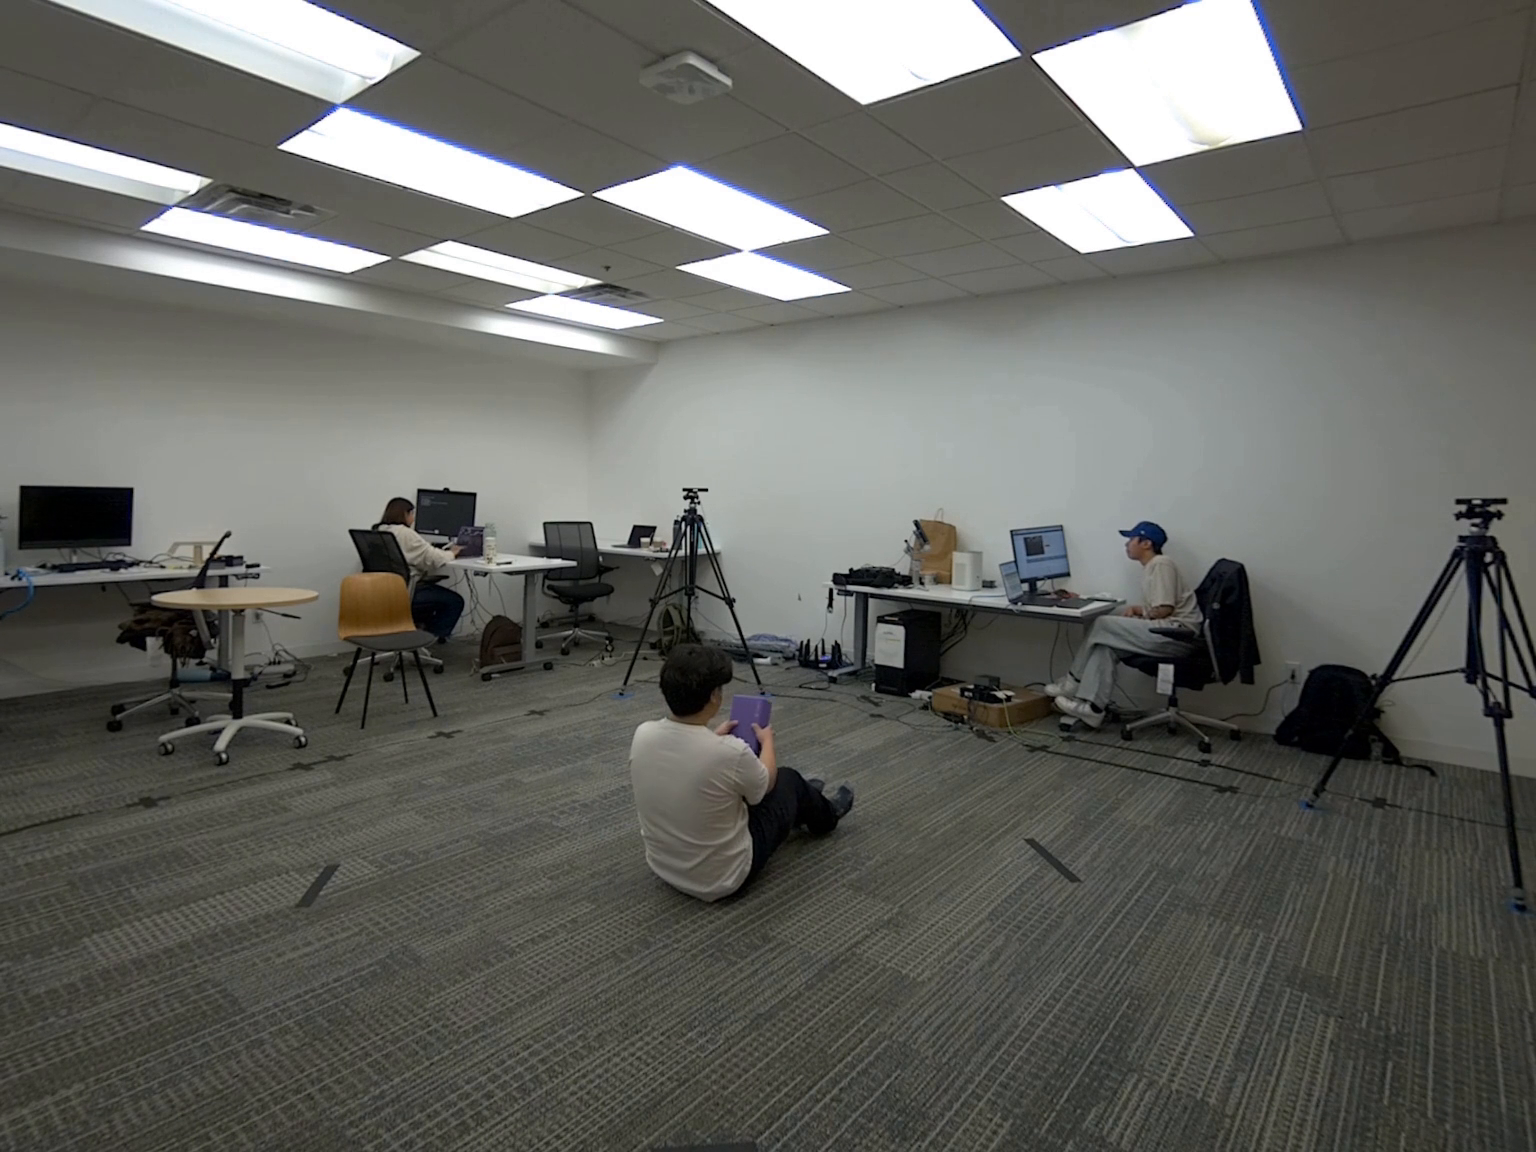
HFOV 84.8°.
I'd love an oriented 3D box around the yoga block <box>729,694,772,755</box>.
[{"bbox_3d":[-0.092,0.596,3.390,0.153,0.232,0.073,1,-19,26],"label":"yoga block"}]
